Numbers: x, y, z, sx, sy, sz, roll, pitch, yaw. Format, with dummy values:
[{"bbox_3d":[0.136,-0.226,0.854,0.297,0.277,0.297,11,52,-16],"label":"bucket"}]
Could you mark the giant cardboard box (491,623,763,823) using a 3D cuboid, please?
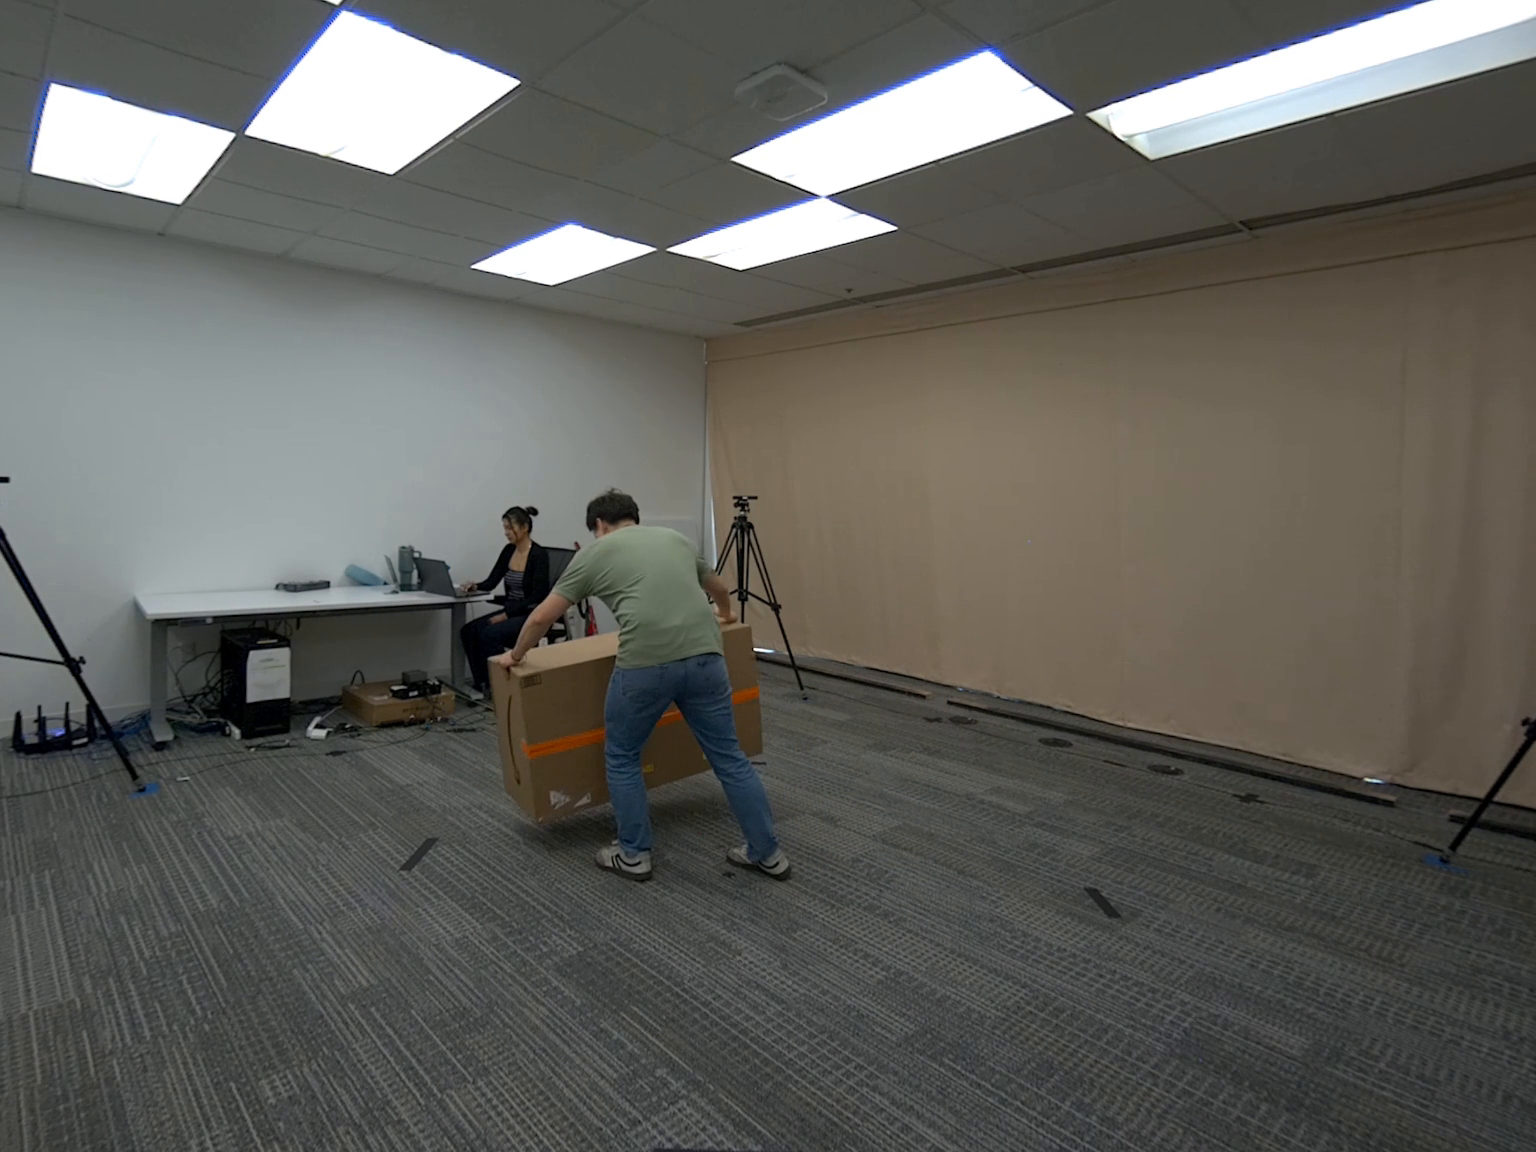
[{"bbox_3d":[-0.577,0.547,3.550,1.008,0.574,0.436,-10,10,-30],"label":"giant cardboard box"}]
